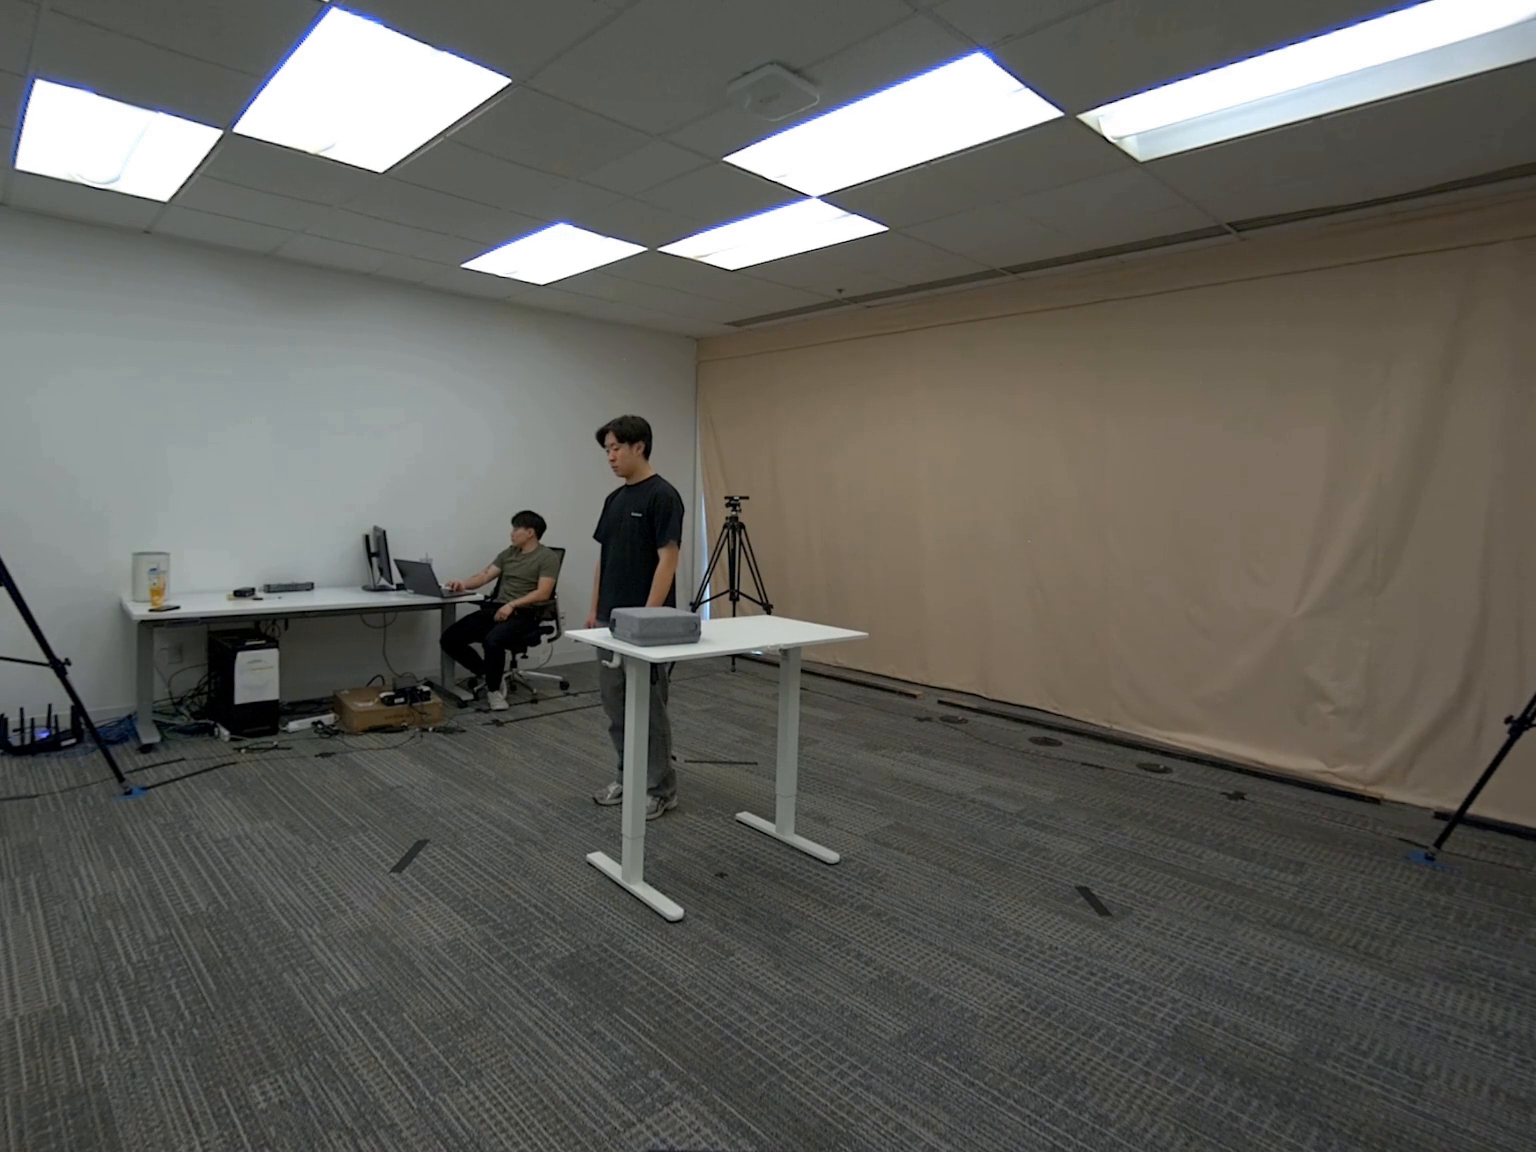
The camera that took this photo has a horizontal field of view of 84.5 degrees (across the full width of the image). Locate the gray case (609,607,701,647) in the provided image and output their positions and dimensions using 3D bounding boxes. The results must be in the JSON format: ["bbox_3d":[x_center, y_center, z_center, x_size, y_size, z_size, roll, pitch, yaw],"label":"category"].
[{"bbox_3d":[-0.390,0.174,2.963,0.281,0.103,0.270,-1,5,-36],"label":"gray case"}]
